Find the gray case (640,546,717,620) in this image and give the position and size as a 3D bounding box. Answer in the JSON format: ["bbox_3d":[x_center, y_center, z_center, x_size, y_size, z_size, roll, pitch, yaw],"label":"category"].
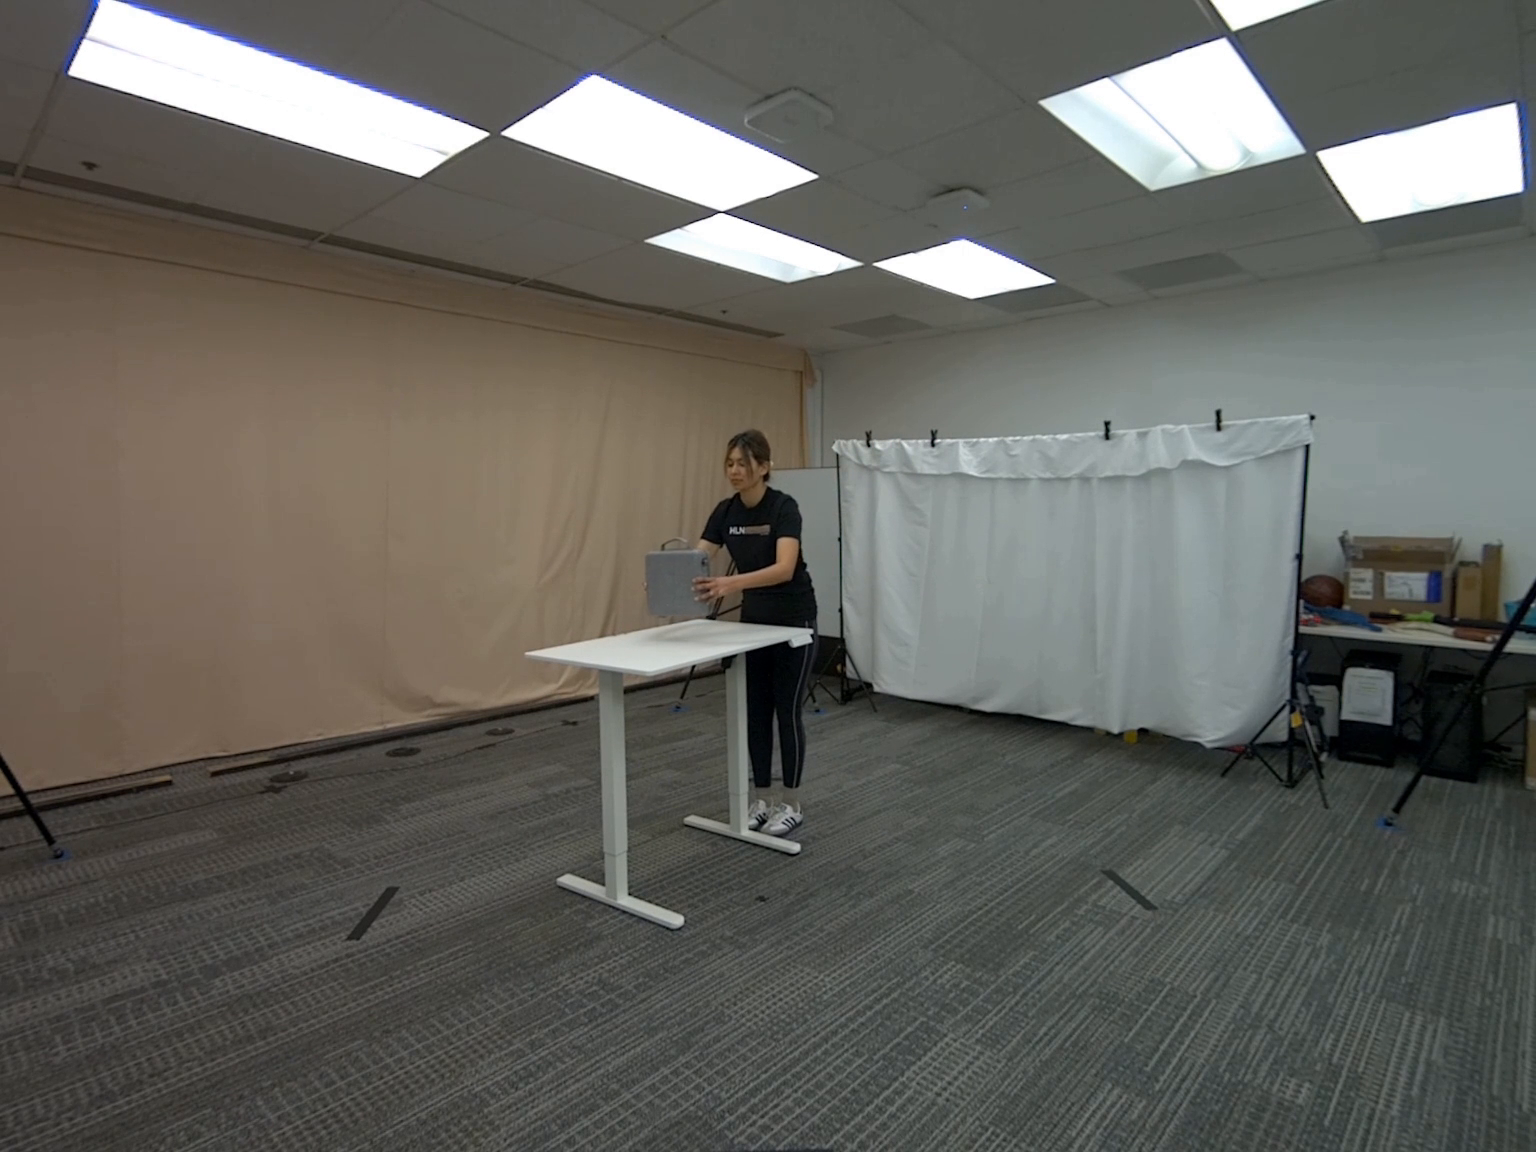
[{"bbox_3d":[-0.339,0.023,3.183,0.264,0.260,0.101,-3,1,30],"label":"gray case"}]
